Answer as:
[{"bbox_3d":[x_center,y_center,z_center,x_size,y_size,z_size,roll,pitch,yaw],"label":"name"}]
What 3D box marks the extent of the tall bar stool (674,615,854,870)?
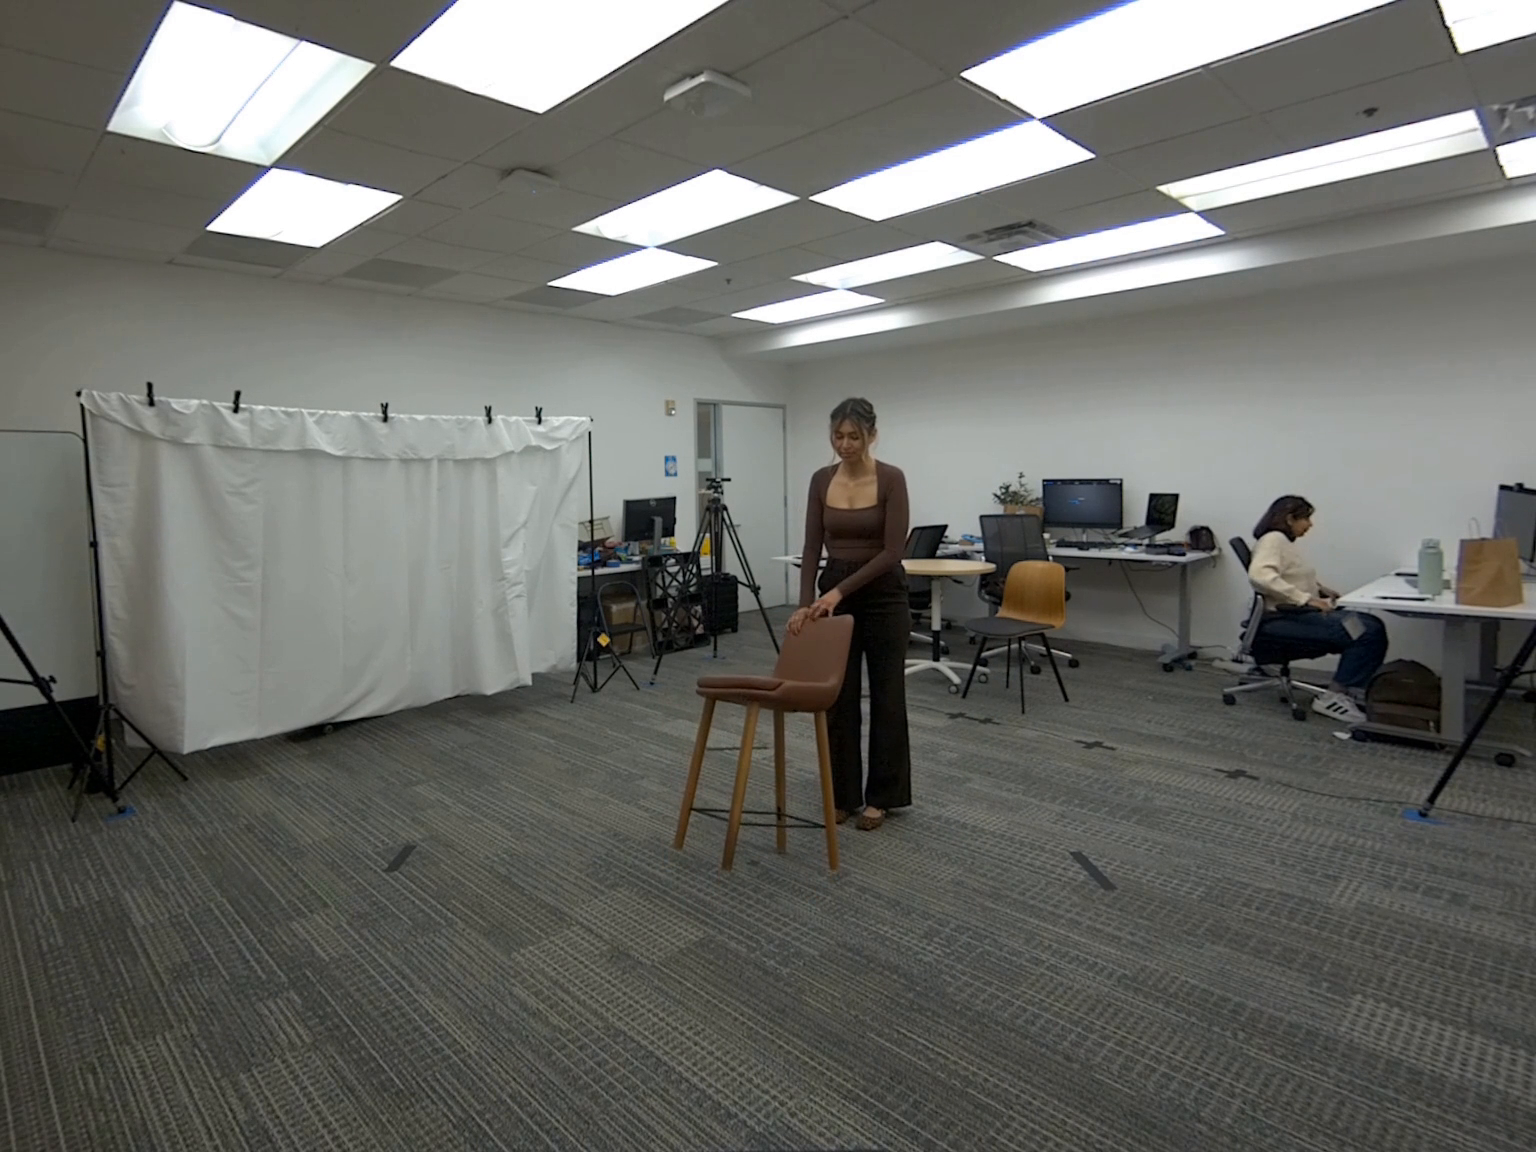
[{"bbox_3d":[-0.001,0.554,3.044,0.455,0.898,0.465,12,-13,-27],"label":"tall bar stool"}]
